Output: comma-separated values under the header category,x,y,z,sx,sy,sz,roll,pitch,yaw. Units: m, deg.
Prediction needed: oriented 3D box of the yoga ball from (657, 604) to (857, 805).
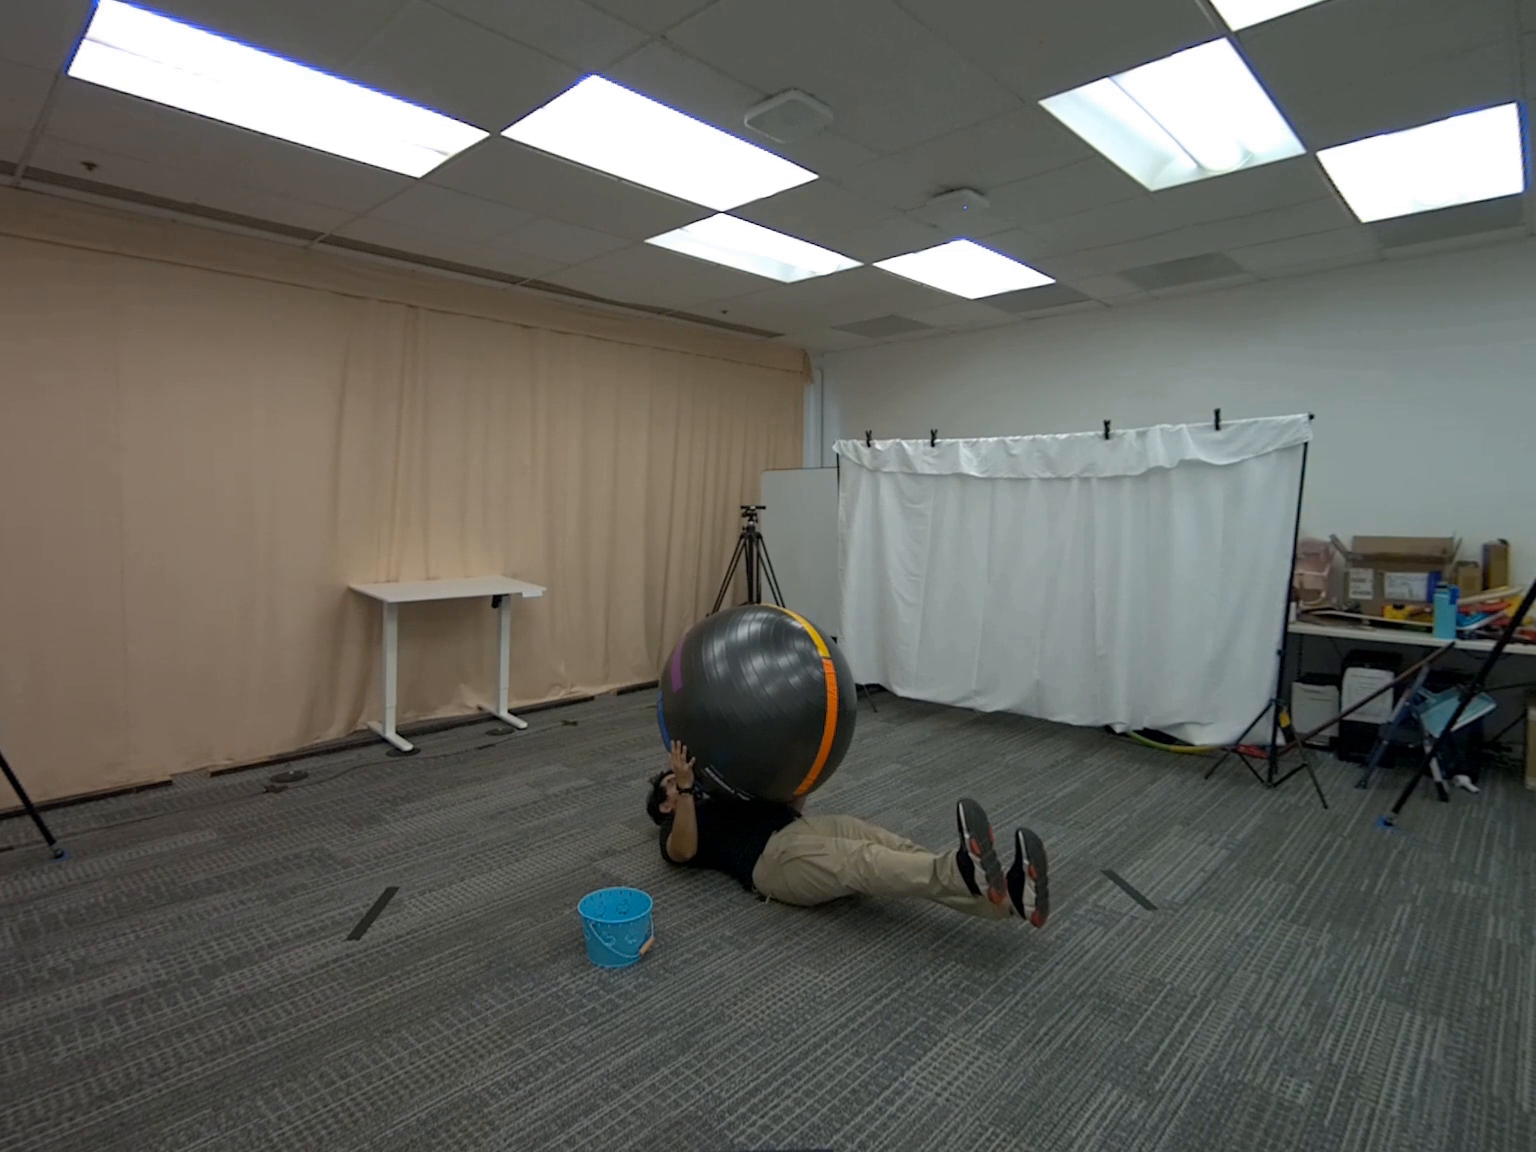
category,x,y,z,sx,sy,sz,roll,pitch,yaw
yoga ball,-0.040,0.490,3.199,0.757,0.756,0.761,0,4,-2
